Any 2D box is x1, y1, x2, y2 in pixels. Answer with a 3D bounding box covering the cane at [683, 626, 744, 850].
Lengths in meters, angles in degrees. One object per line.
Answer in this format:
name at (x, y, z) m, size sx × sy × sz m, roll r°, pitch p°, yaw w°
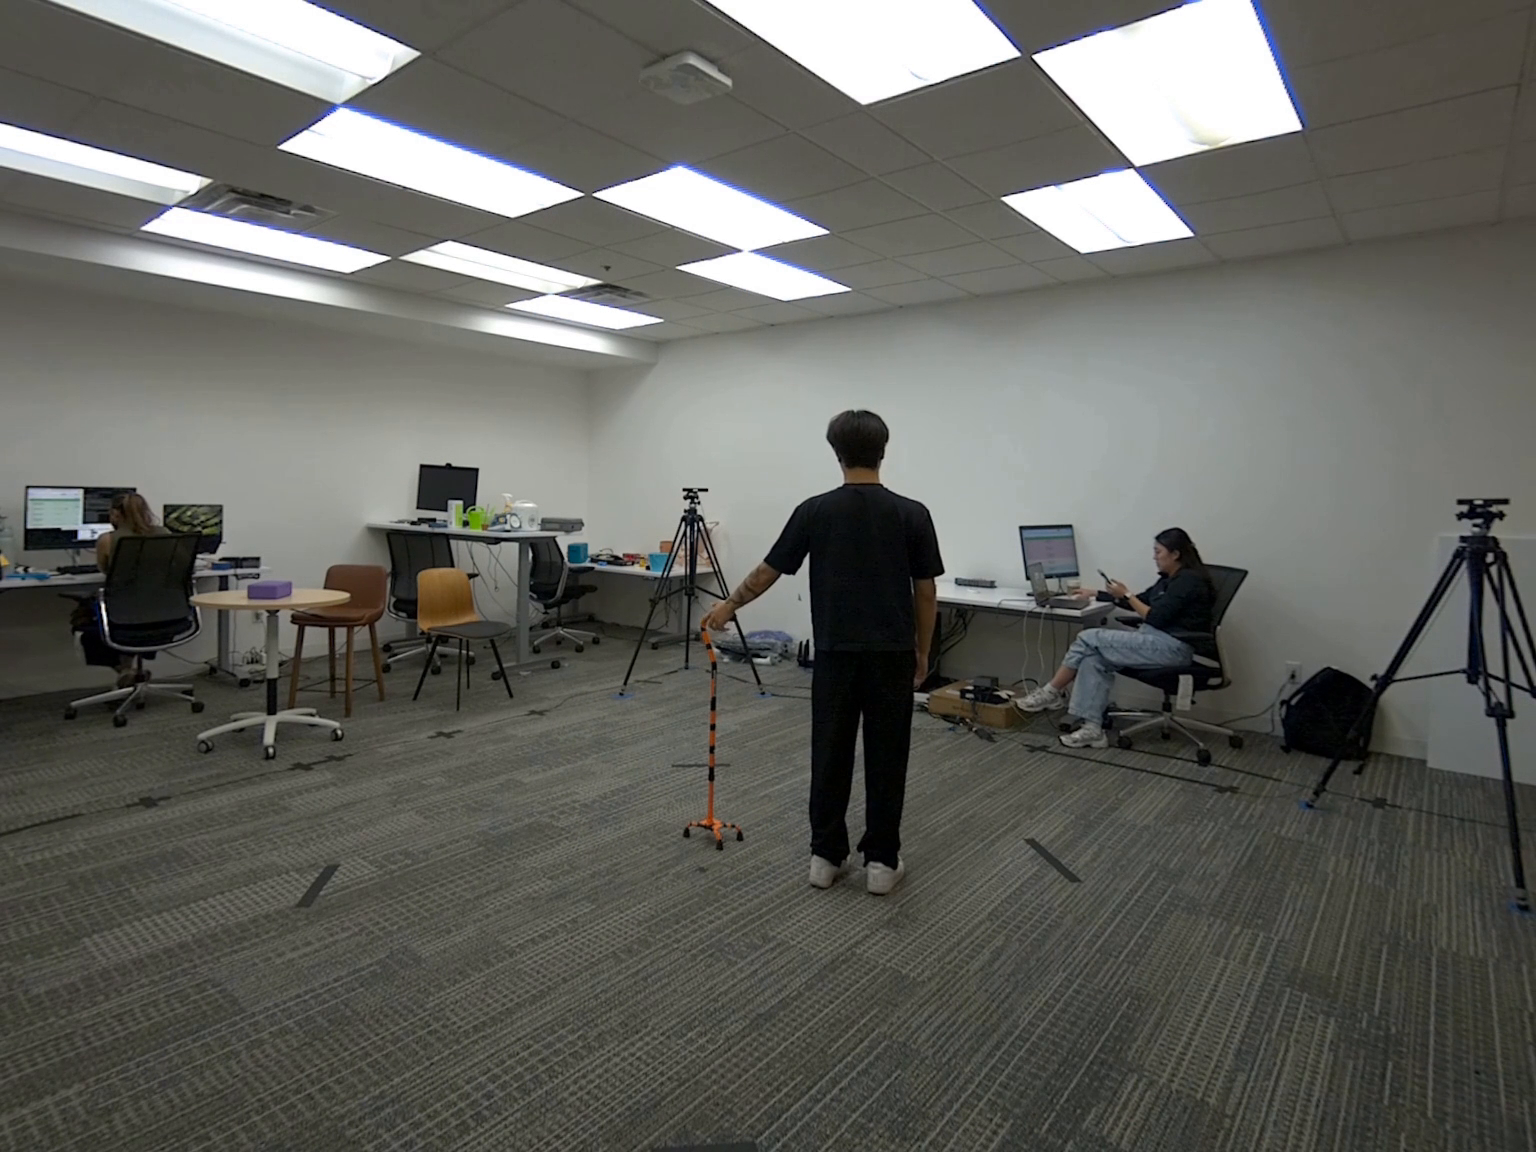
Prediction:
cane at (-0.220, 0.592, 3.373) m, size 0.213 × 0.906 × 0.147 m, roll 3°, pitch 3°, yaw 41°
